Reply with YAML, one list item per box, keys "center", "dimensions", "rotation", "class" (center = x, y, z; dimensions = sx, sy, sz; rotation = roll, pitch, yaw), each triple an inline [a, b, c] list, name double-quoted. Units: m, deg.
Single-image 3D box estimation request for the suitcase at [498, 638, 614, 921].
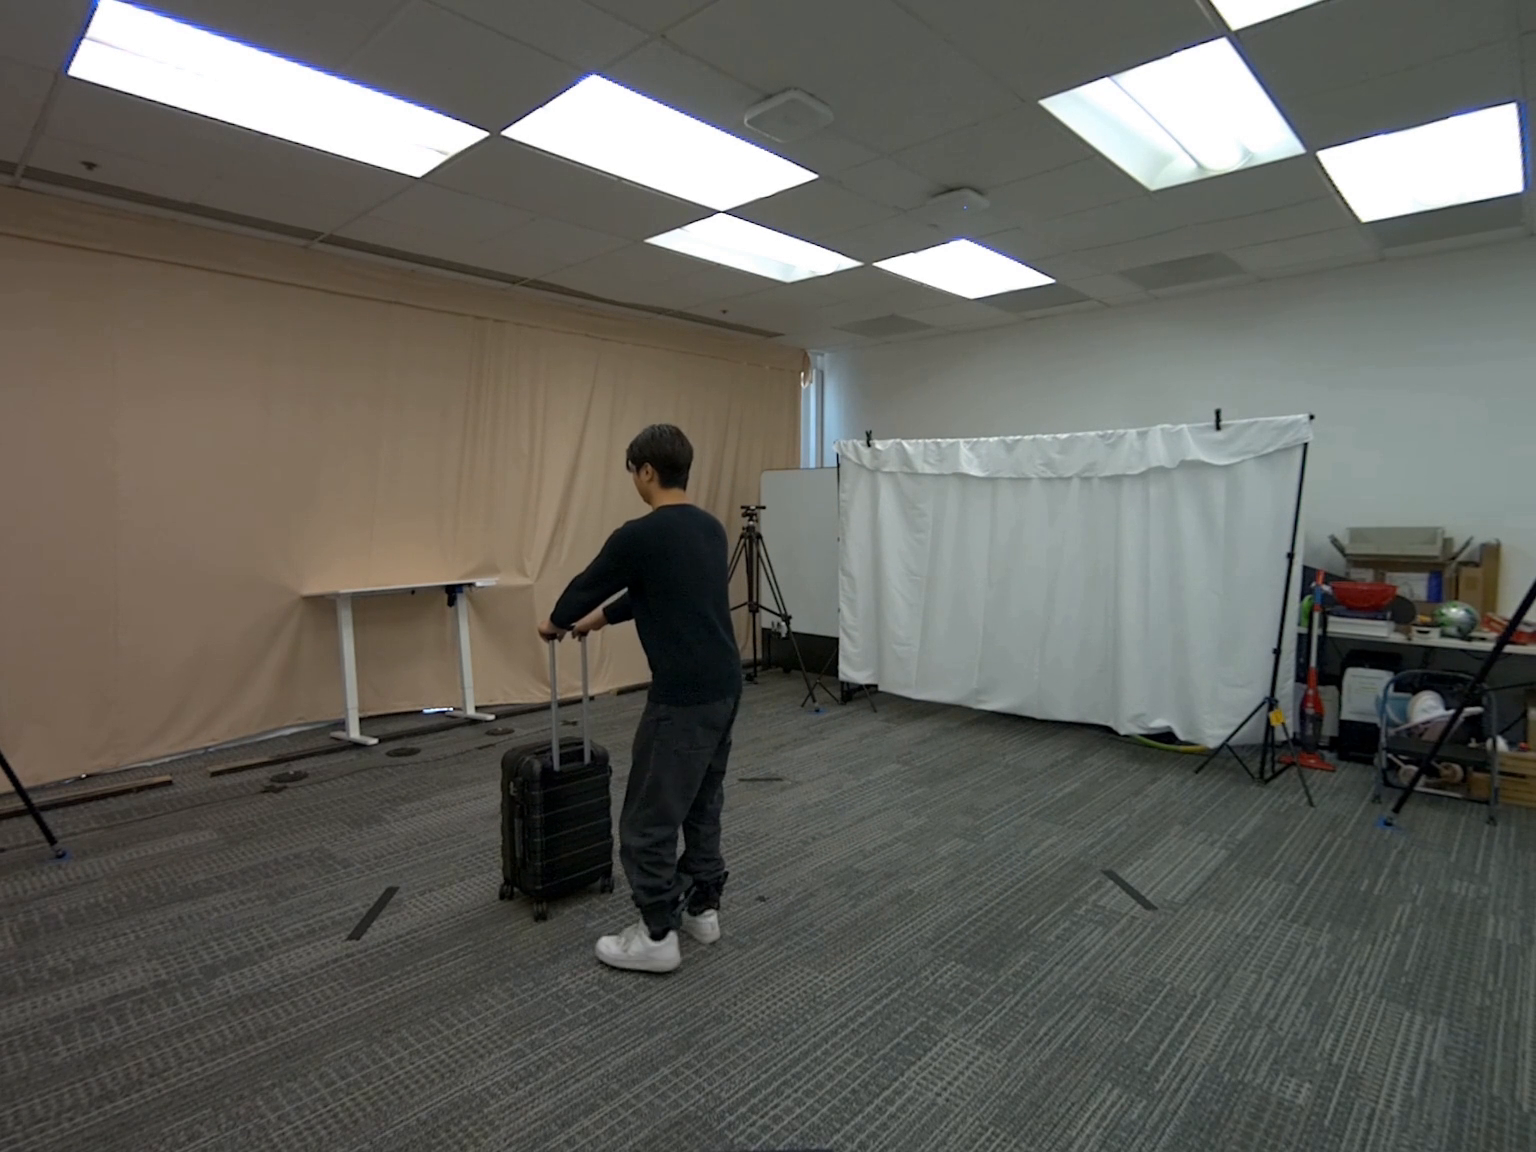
- center: [-0.774, 0.670, 3.041]
  dimensions: [0.265, 0.978, 0.372]
  rotation: [-1, 0, 45]
  class: "suitcase"
